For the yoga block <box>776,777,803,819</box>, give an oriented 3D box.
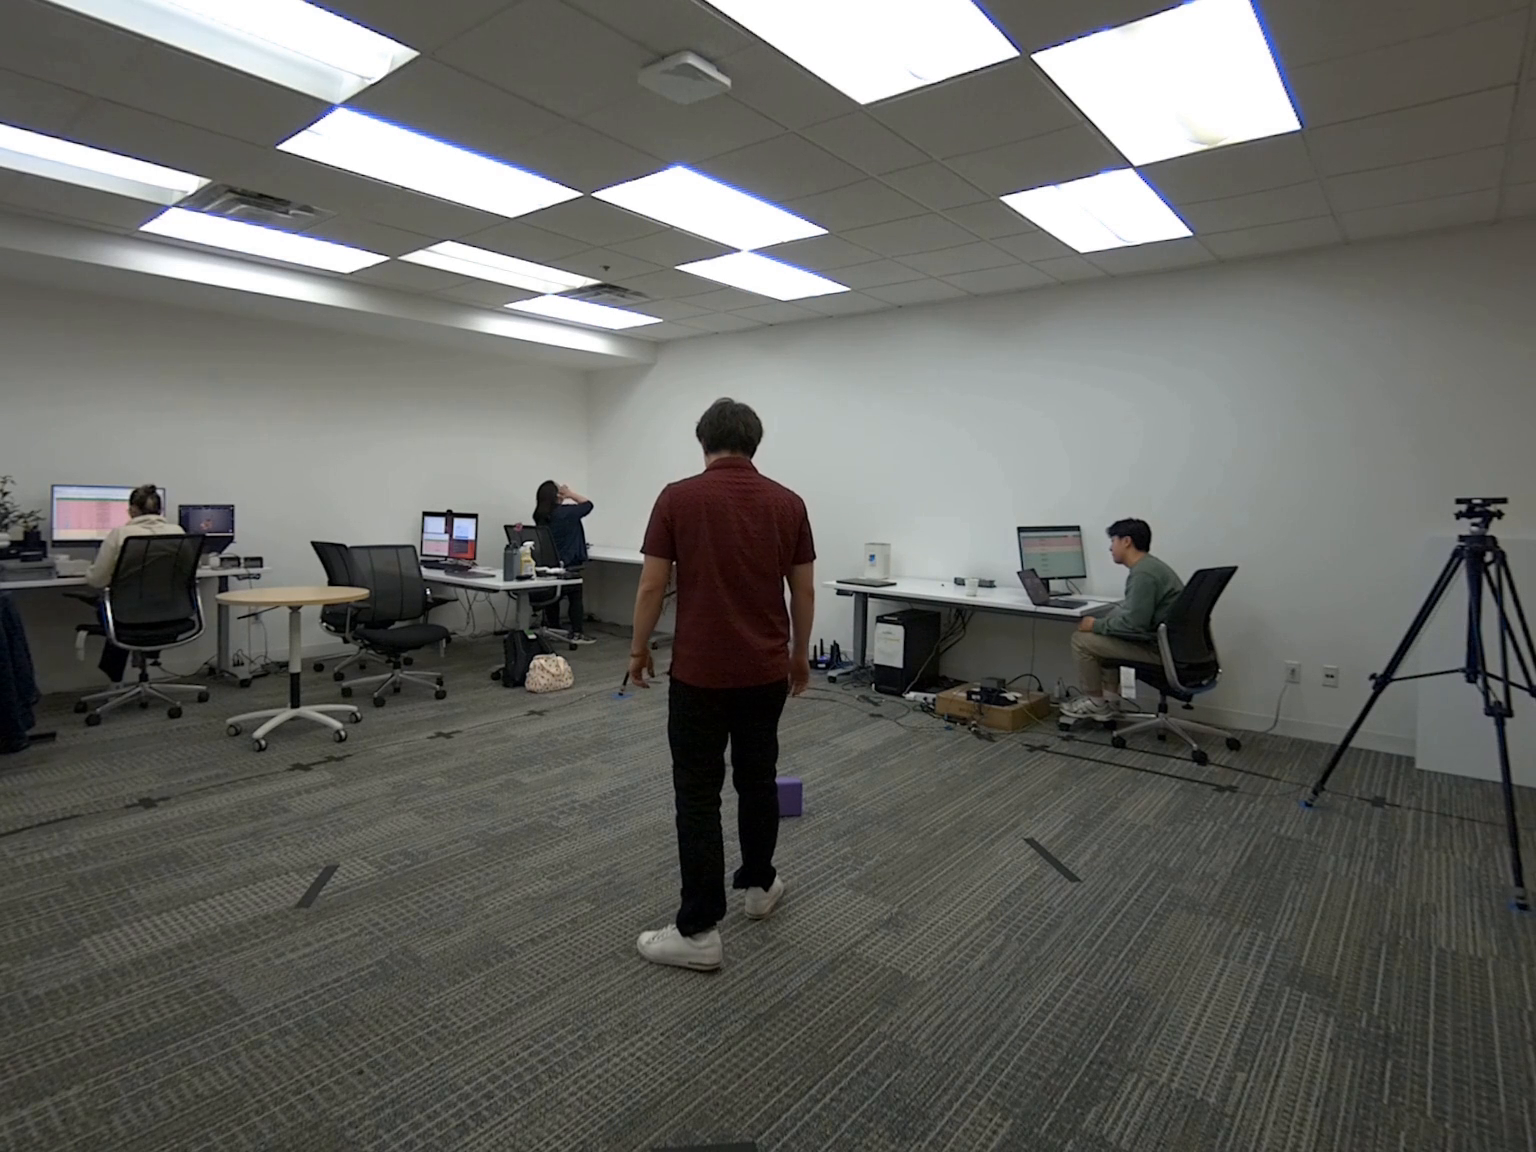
[{"bbox_3d":[0.027,0.943,3.650,0.227,0.149,0.077,-1,2,-10],"label":"yoga block"}]
